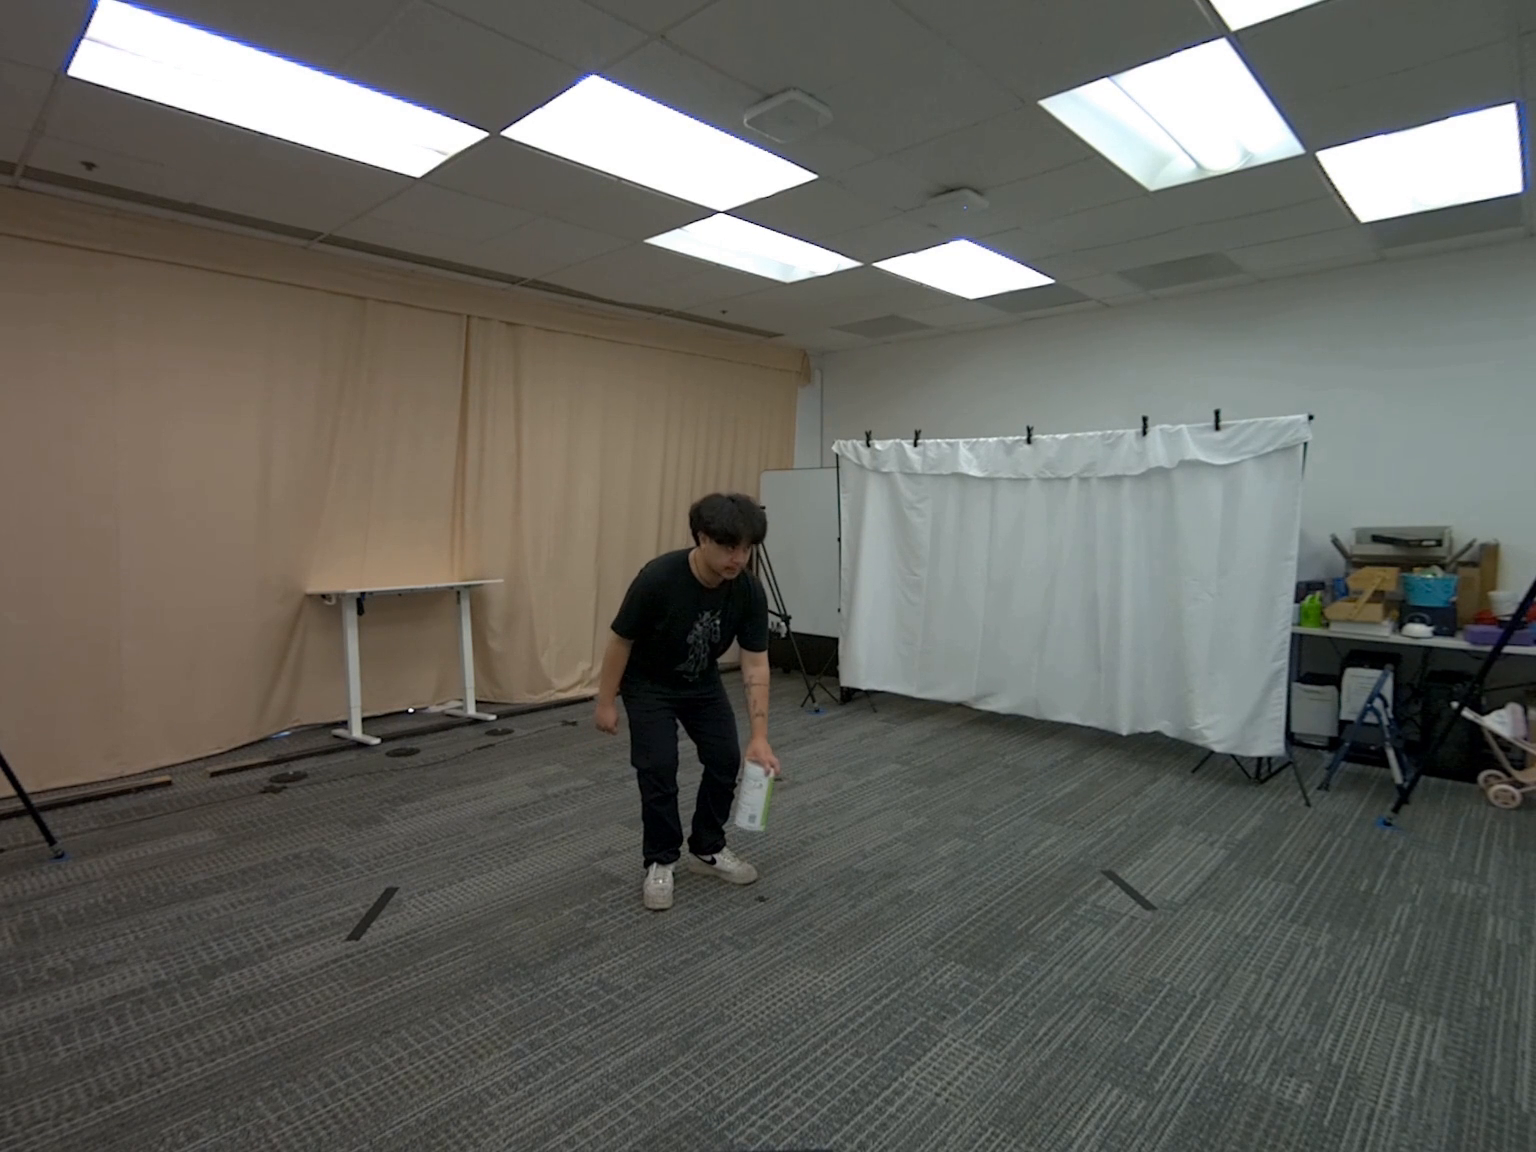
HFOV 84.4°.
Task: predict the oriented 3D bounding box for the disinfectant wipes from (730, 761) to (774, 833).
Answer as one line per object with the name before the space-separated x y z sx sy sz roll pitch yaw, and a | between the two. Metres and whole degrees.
disinfectant wipes | -0.036 0.743 2.850 0.118 0.217 0.118 10 -2 -2
